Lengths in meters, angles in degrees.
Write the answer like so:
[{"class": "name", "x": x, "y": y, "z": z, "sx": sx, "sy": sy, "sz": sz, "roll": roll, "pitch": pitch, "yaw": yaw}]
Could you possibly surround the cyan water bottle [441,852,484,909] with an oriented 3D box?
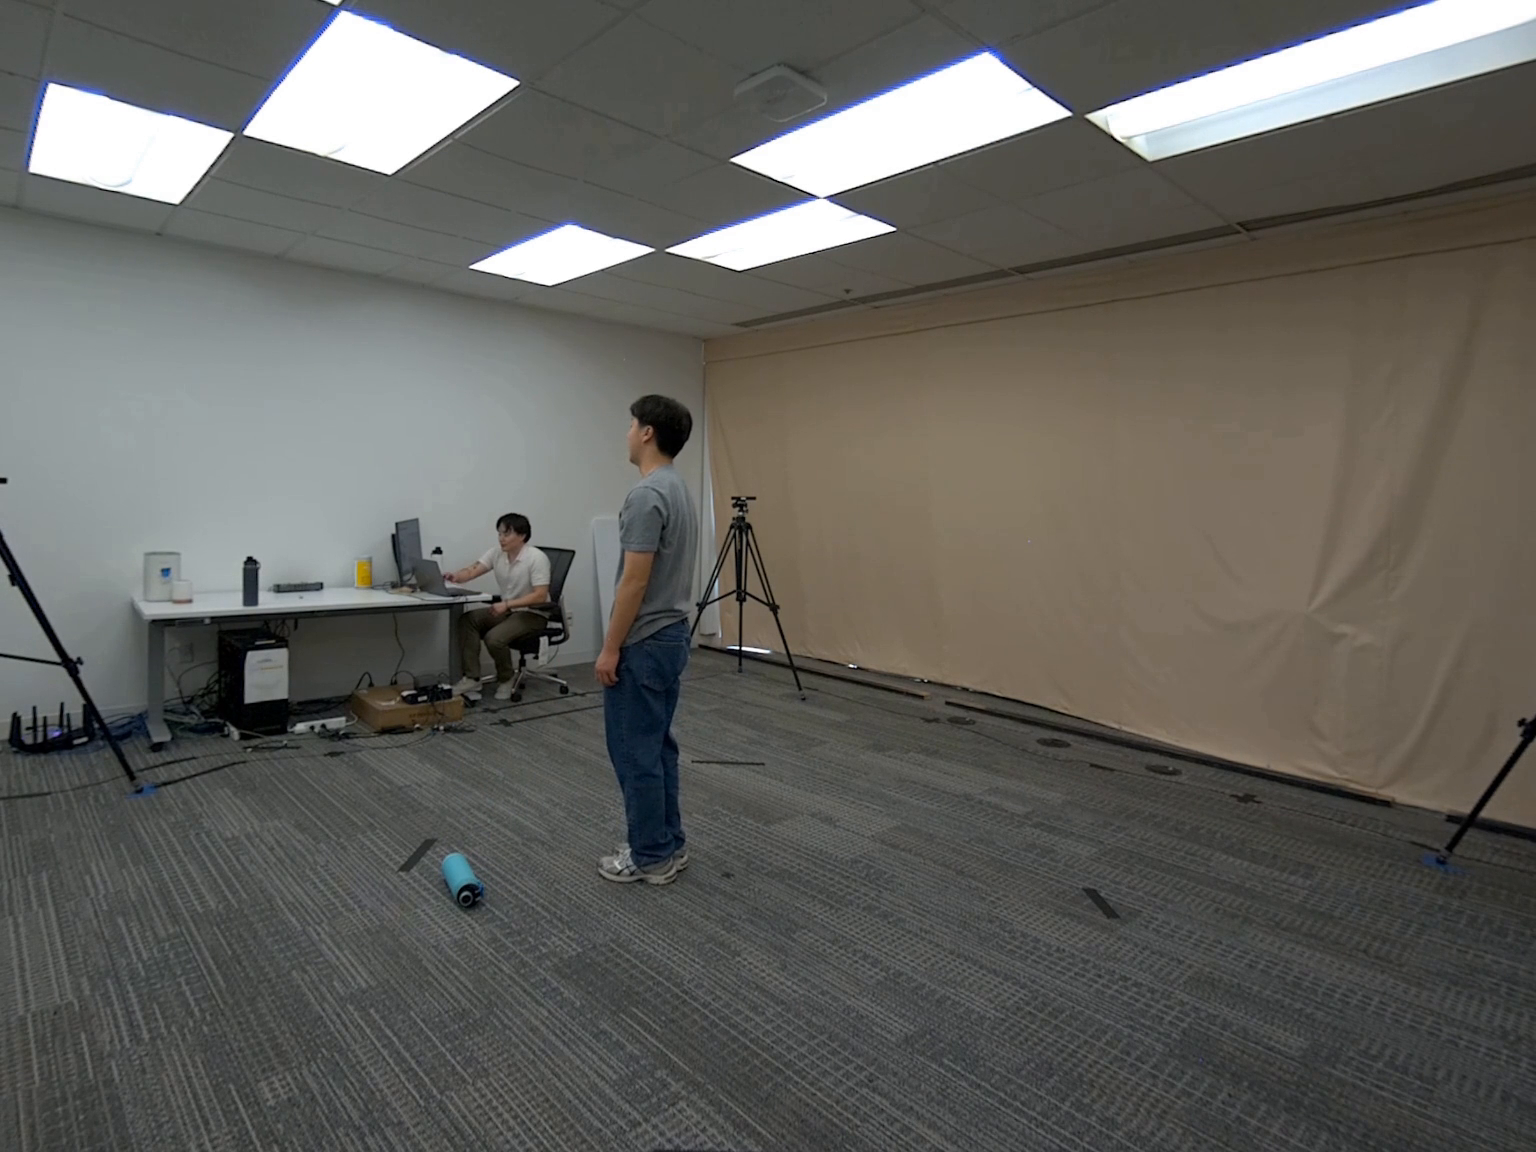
[{"class": "cyan water bottle", "x": -1.069, "y": 1.057, "z": 2.912, "sx": 0.090, "sy": 0.092, "sz": 0.290, "roll": -1, "pitch": 6, "yaw": -32}]
